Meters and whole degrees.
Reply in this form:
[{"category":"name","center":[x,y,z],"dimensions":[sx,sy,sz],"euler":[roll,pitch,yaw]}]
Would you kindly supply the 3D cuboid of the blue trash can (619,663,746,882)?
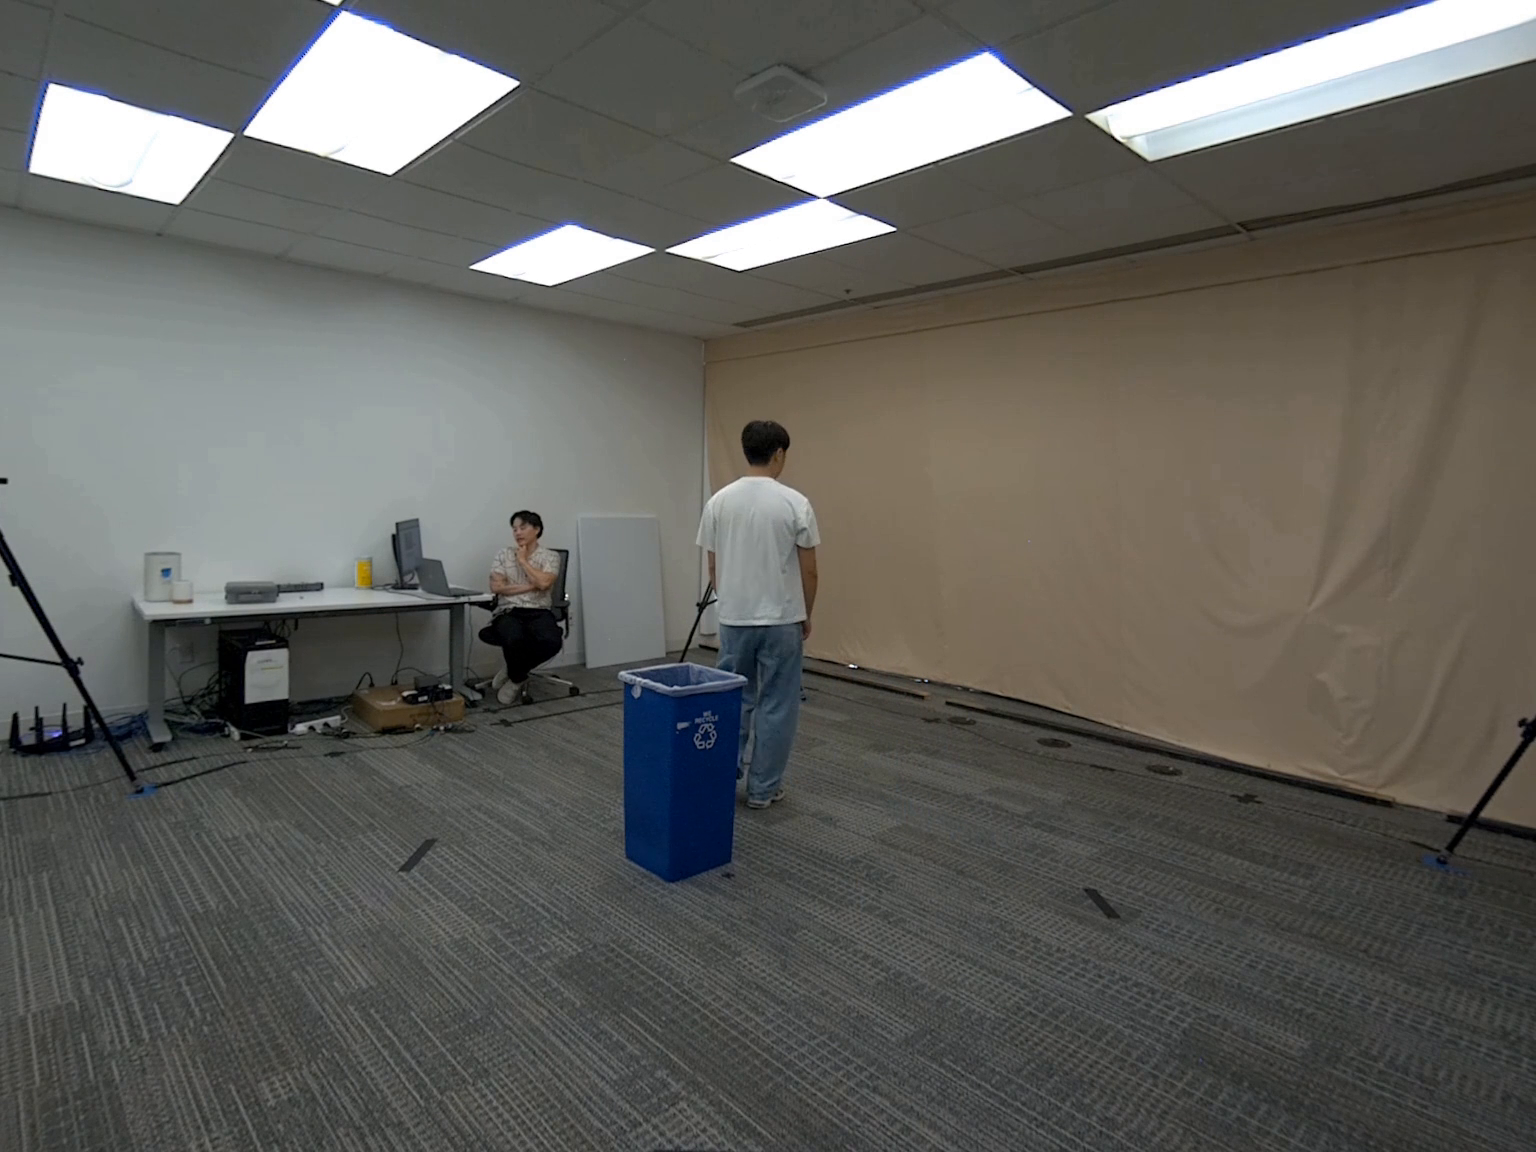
[{"category":"blue trash can","center":[-0.339,0.733,3.226],"dimensions":[0.365,0.712,0.388],"euler":[-2,5,-43]}]
